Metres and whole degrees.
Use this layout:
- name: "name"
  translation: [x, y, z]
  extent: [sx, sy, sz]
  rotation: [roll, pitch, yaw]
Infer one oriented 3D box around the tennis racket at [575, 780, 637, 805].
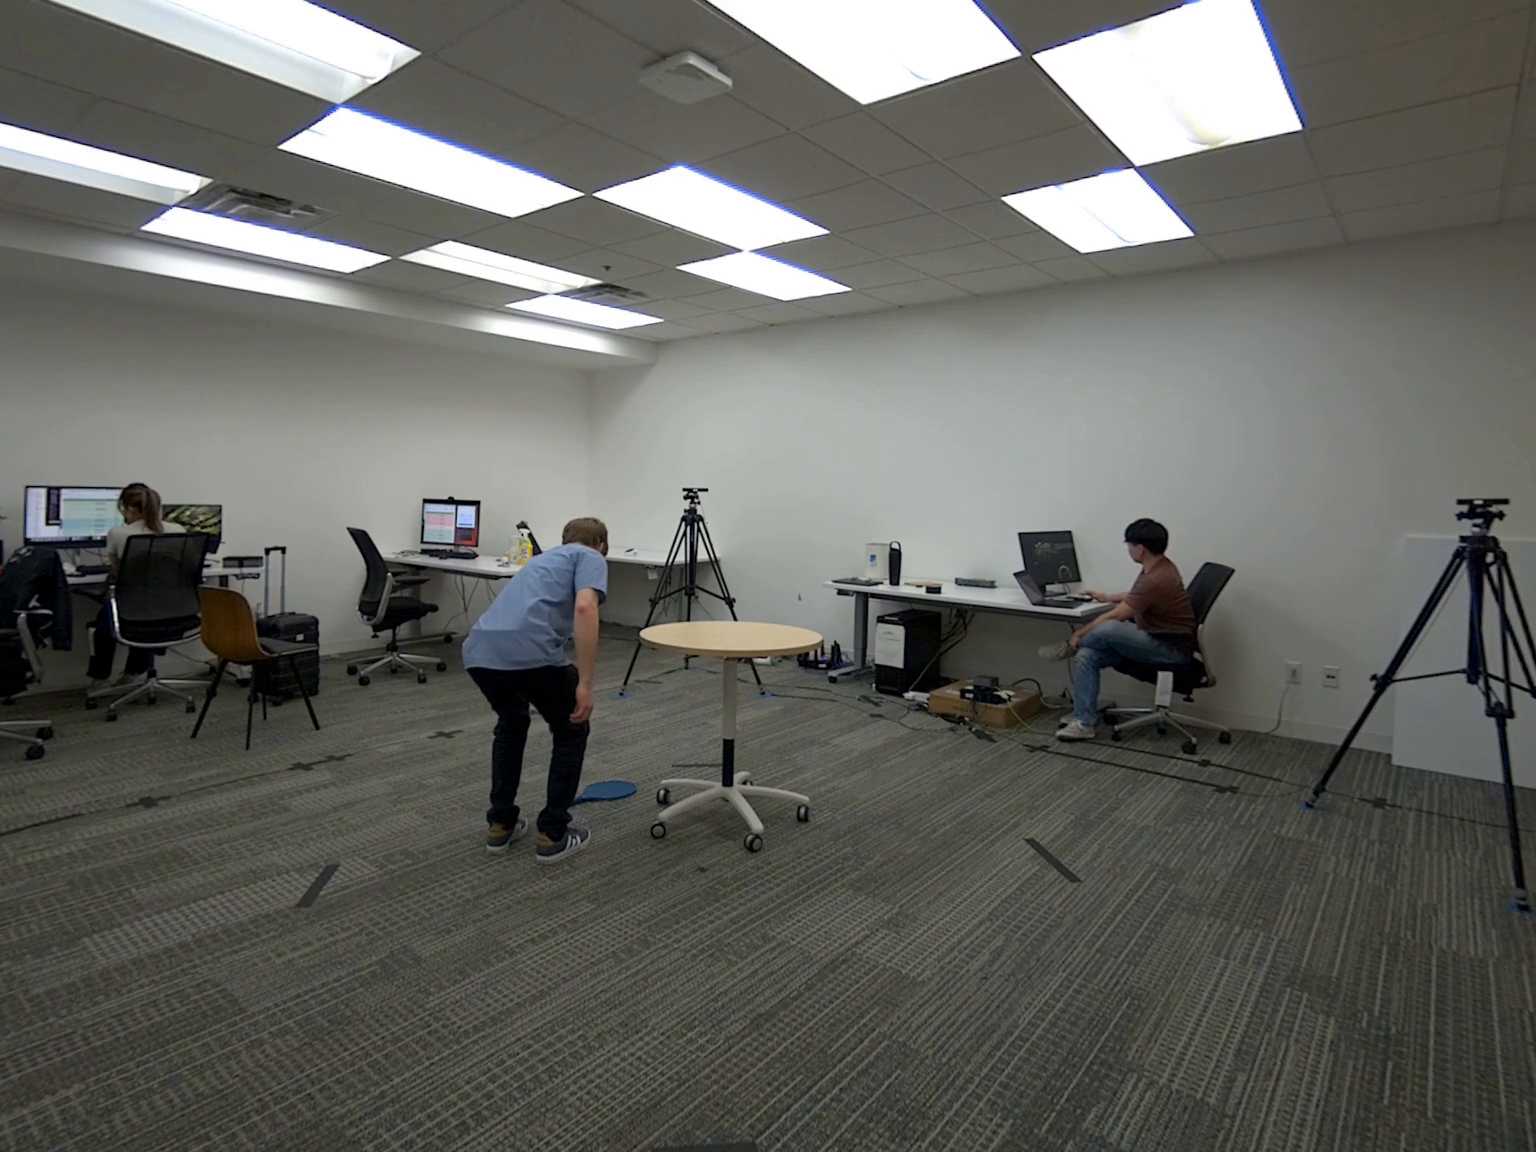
- name: "tennis racket"
  translation: [-0.789, 0.978, 3.831]
  extent: [0.221, 0.031, 0.420]
  rotation: [6, 6, 40]
